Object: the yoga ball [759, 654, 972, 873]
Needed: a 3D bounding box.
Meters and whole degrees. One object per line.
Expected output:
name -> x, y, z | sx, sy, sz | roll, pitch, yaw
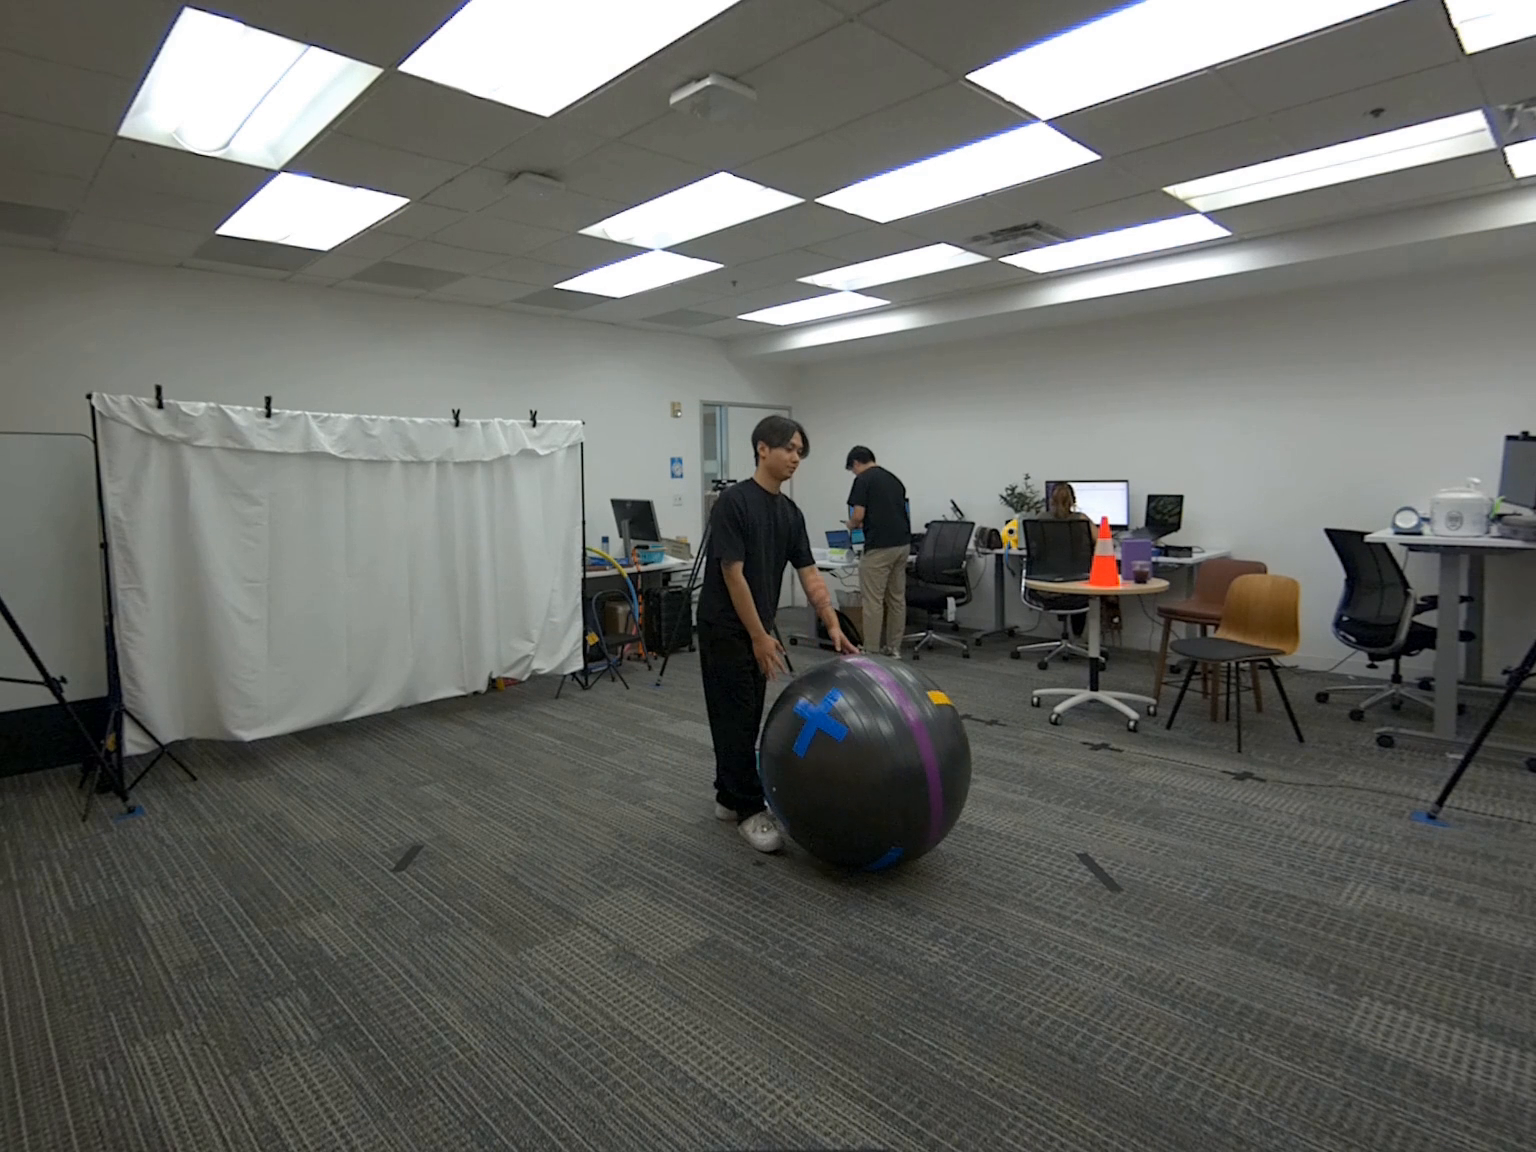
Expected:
yoga ball -> 0.347, 0.674, 3.101 | 0.757, 0.755, 0.762 | -1, 5, -2
